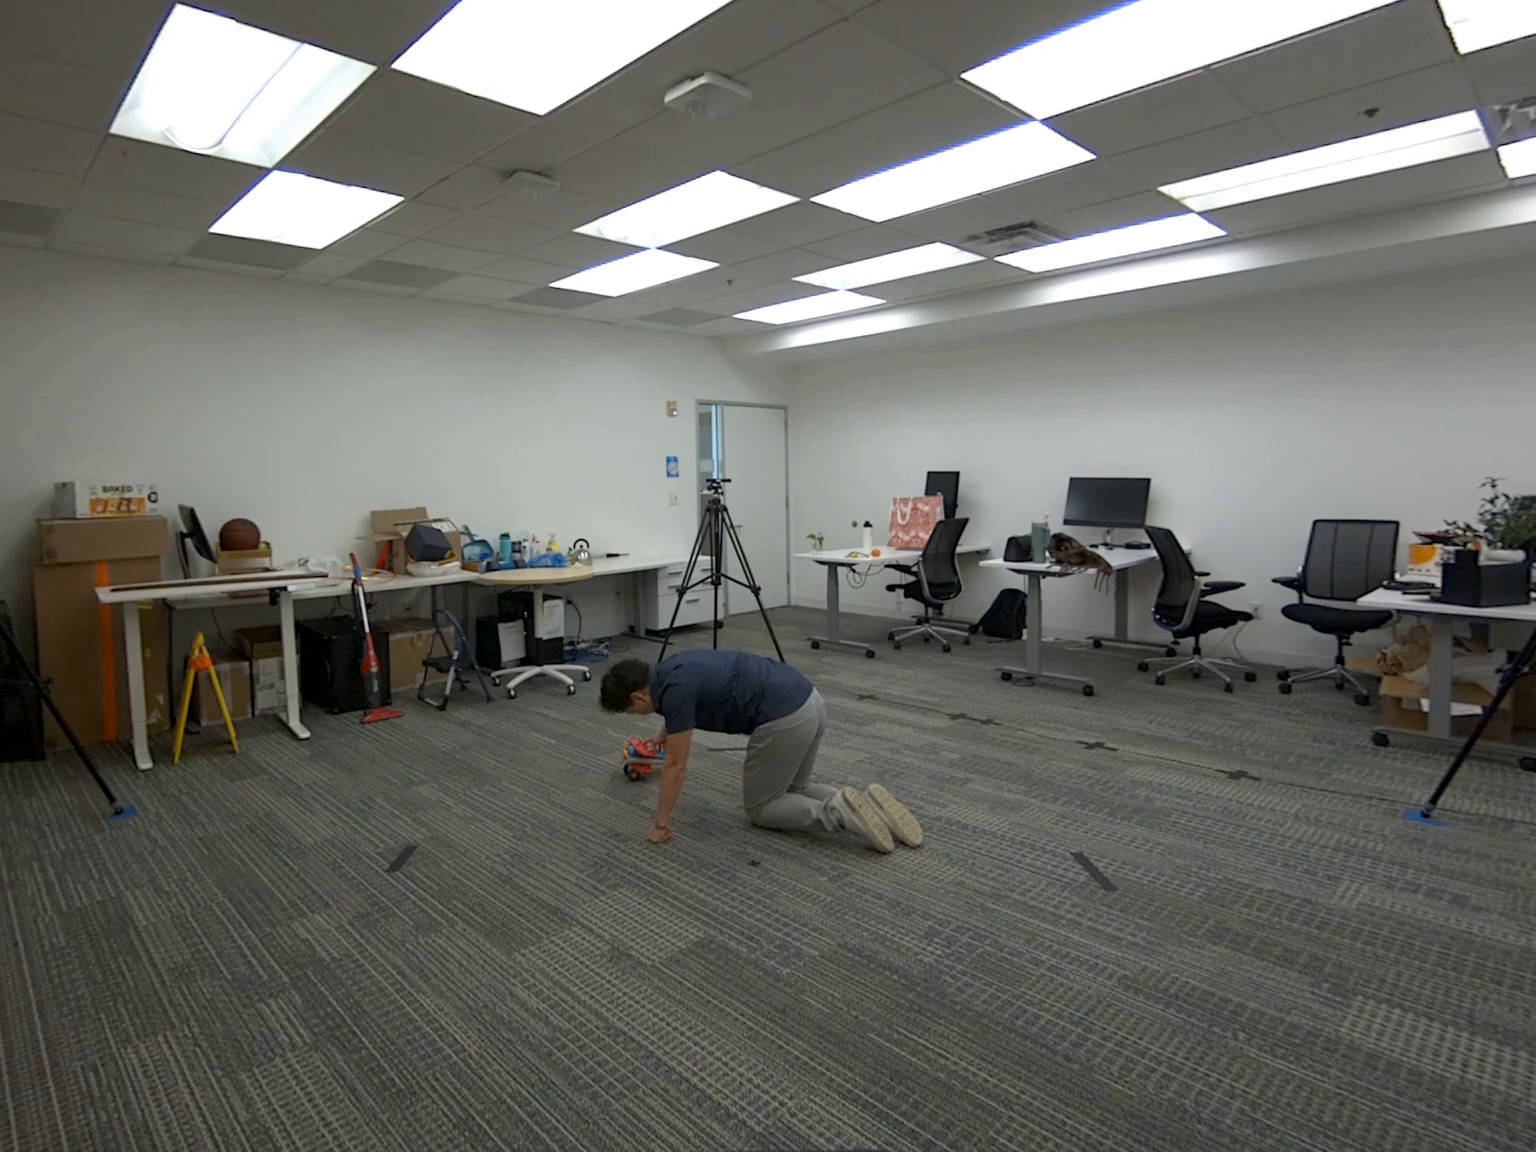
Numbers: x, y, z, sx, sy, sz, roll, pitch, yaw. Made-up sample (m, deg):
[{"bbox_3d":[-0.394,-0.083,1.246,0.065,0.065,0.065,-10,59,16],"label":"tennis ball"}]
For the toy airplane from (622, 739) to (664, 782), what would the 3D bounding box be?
[{"bbox_3d":[-0.576,0.873,4.086,0.259,0.155,0.253,5,9,38],"label":"toy airplane"}]
